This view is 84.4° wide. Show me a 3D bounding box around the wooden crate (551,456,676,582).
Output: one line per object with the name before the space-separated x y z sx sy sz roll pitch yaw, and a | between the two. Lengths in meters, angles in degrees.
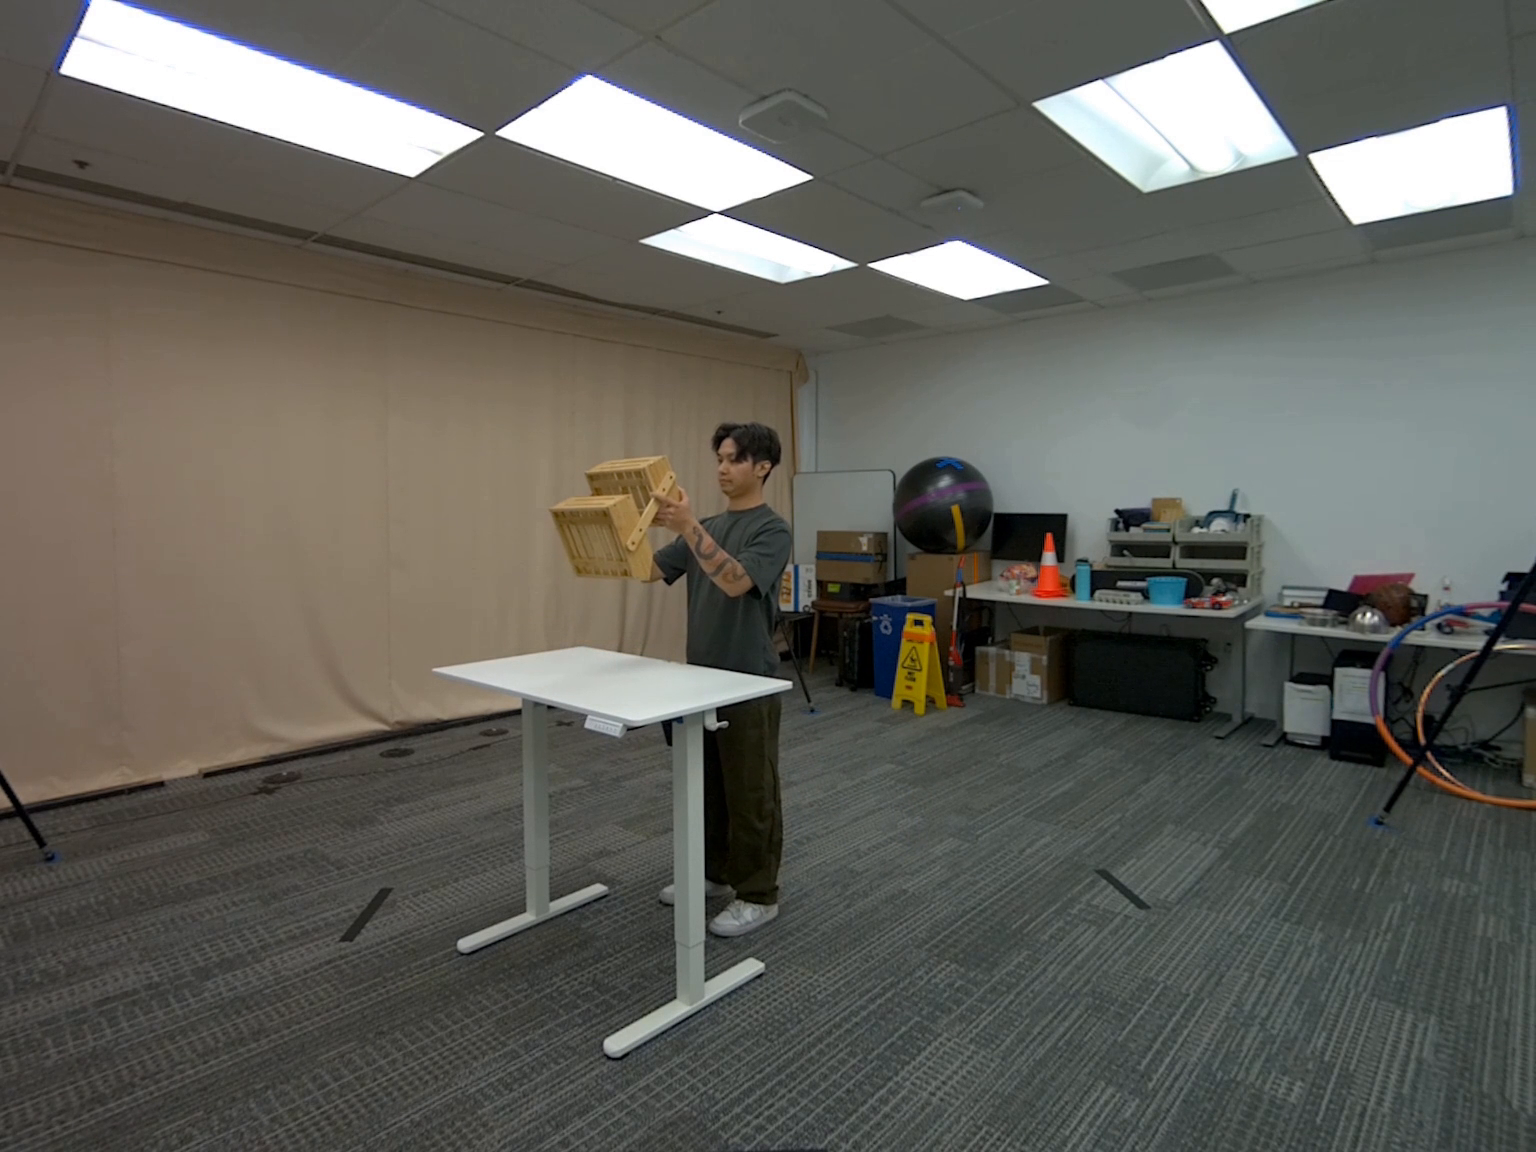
wooden crate | -0.440 -0.166 2.547 0.335 0.297 0.269 2 29 44
